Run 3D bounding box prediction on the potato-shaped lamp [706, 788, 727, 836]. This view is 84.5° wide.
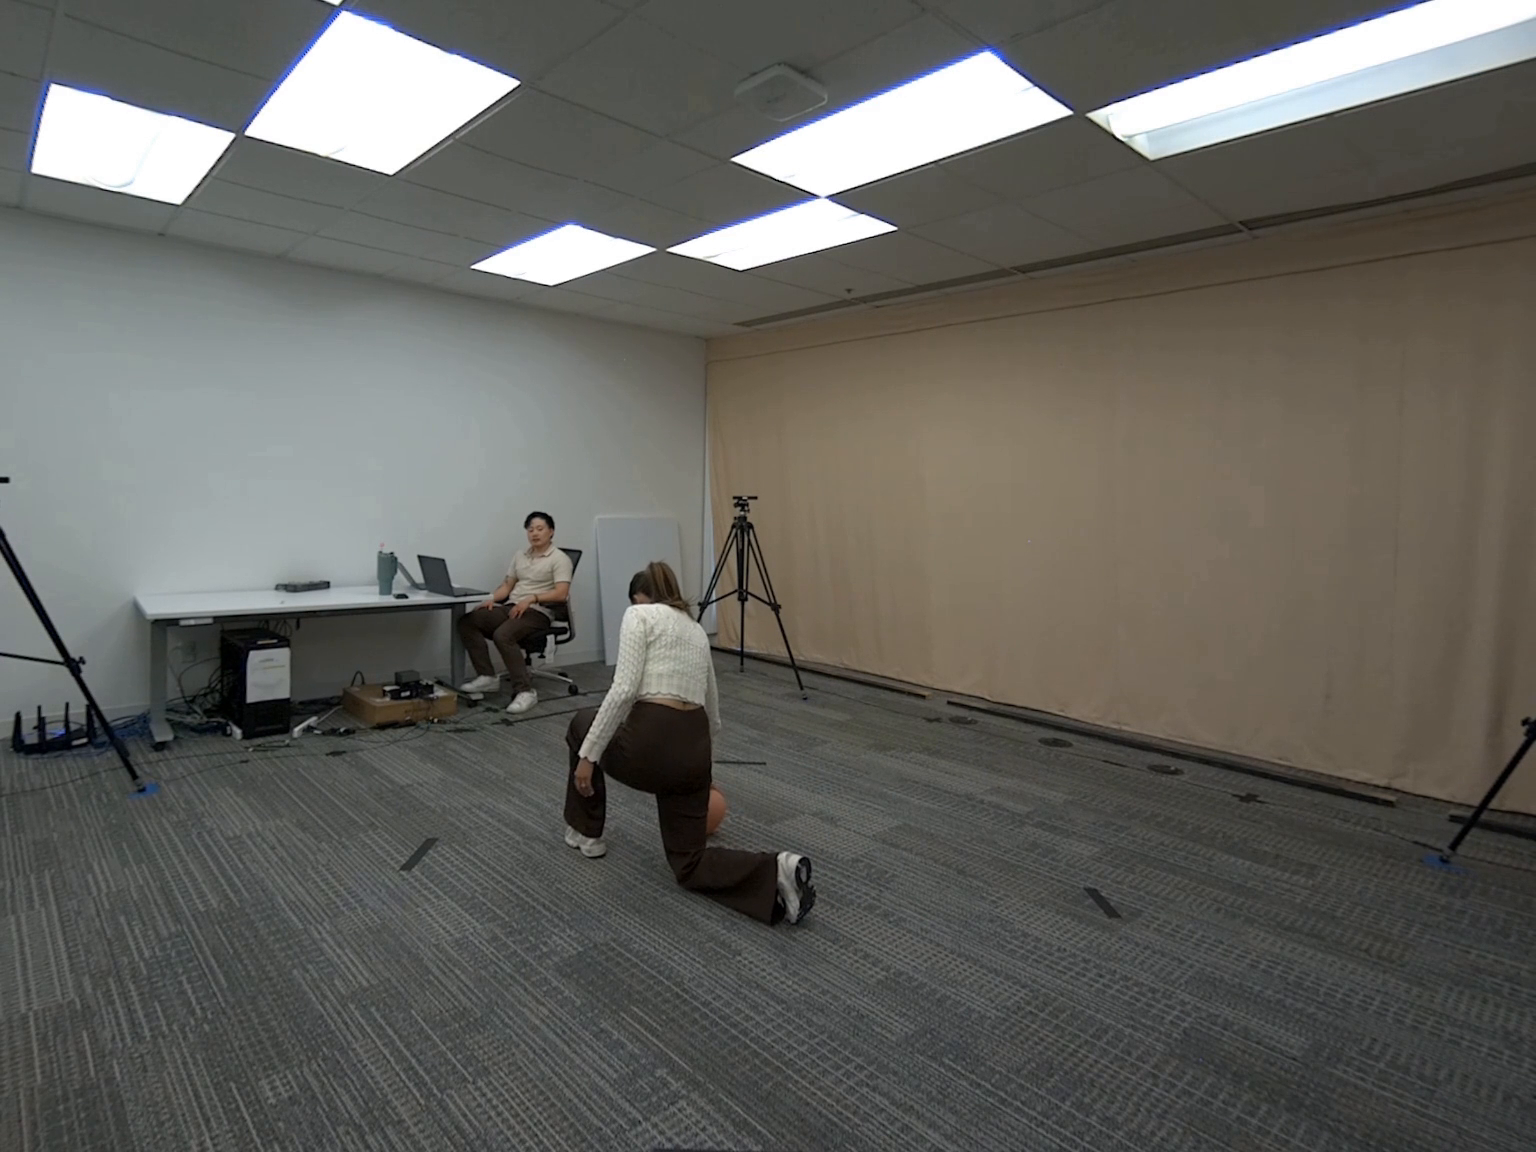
[{"bbox_3d":[-0.270,0.967,3.467,0.176,0.197,0.161,46,23,27],"label":"potato-shaped lamp"}]
